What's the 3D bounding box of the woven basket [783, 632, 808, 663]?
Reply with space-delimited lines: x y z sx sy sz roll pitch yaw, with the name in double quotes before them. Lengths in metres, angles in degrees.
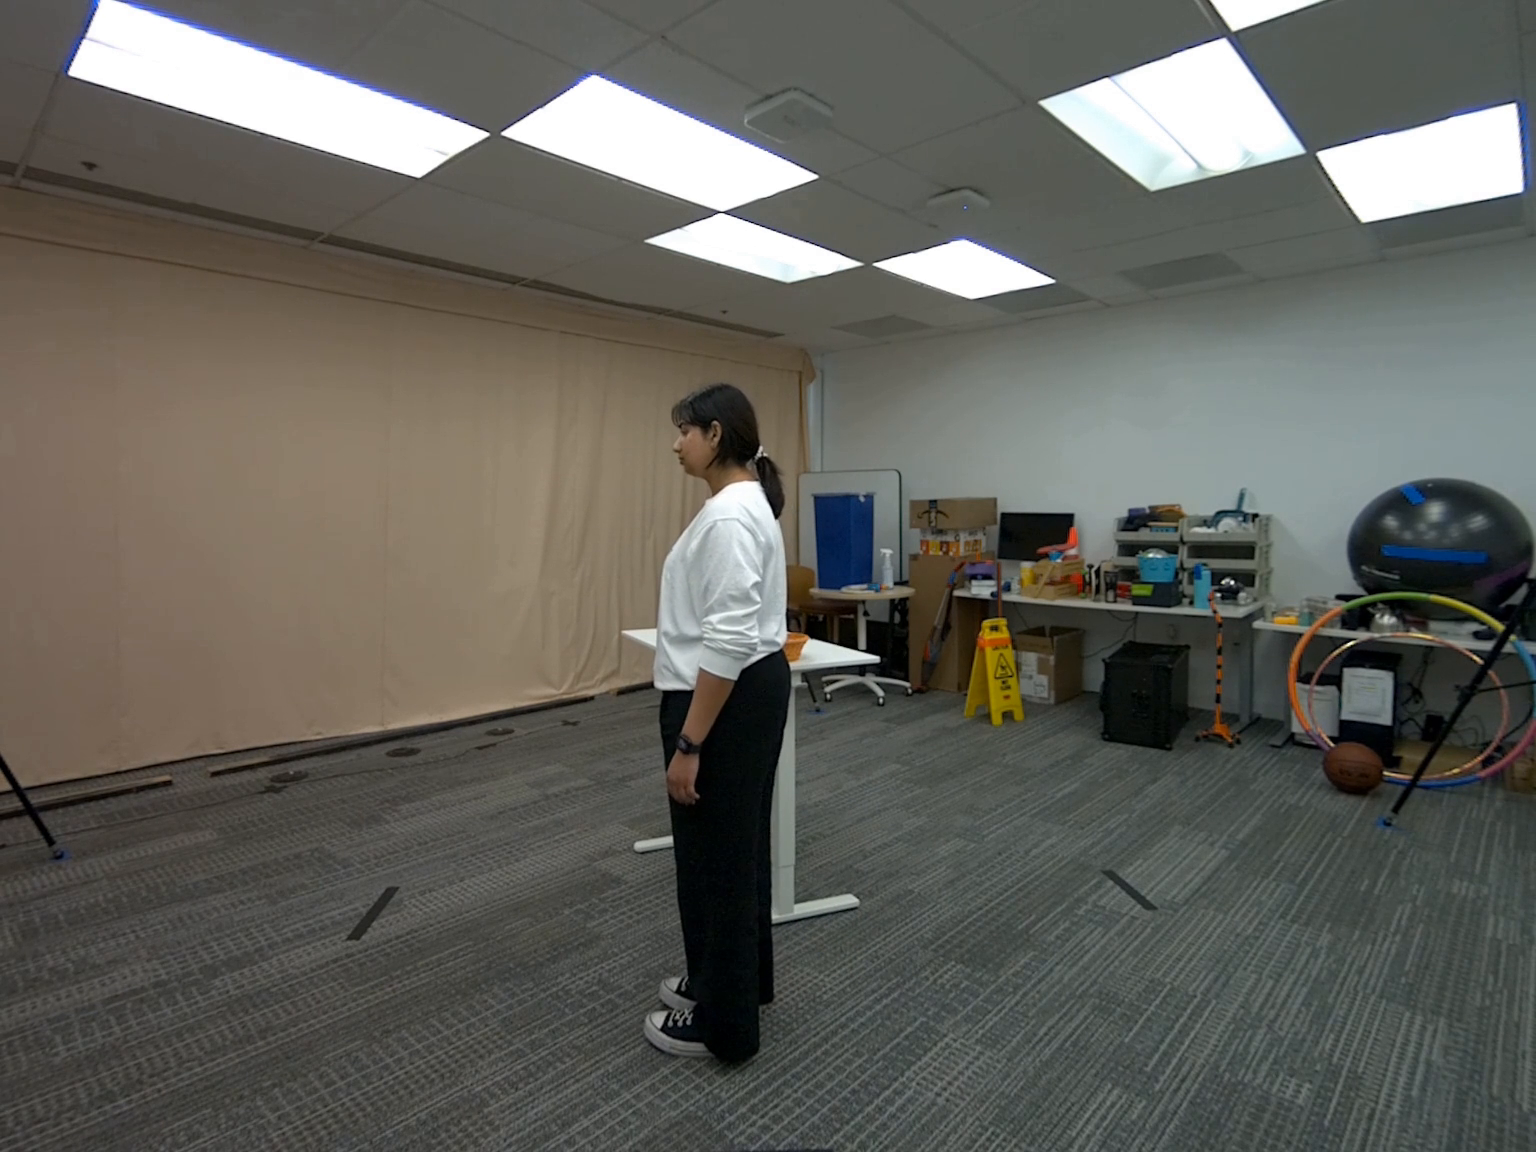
"woven basket" -0.005 0.246 2.761 0.345 0.073 0.257 -1 3 -15
